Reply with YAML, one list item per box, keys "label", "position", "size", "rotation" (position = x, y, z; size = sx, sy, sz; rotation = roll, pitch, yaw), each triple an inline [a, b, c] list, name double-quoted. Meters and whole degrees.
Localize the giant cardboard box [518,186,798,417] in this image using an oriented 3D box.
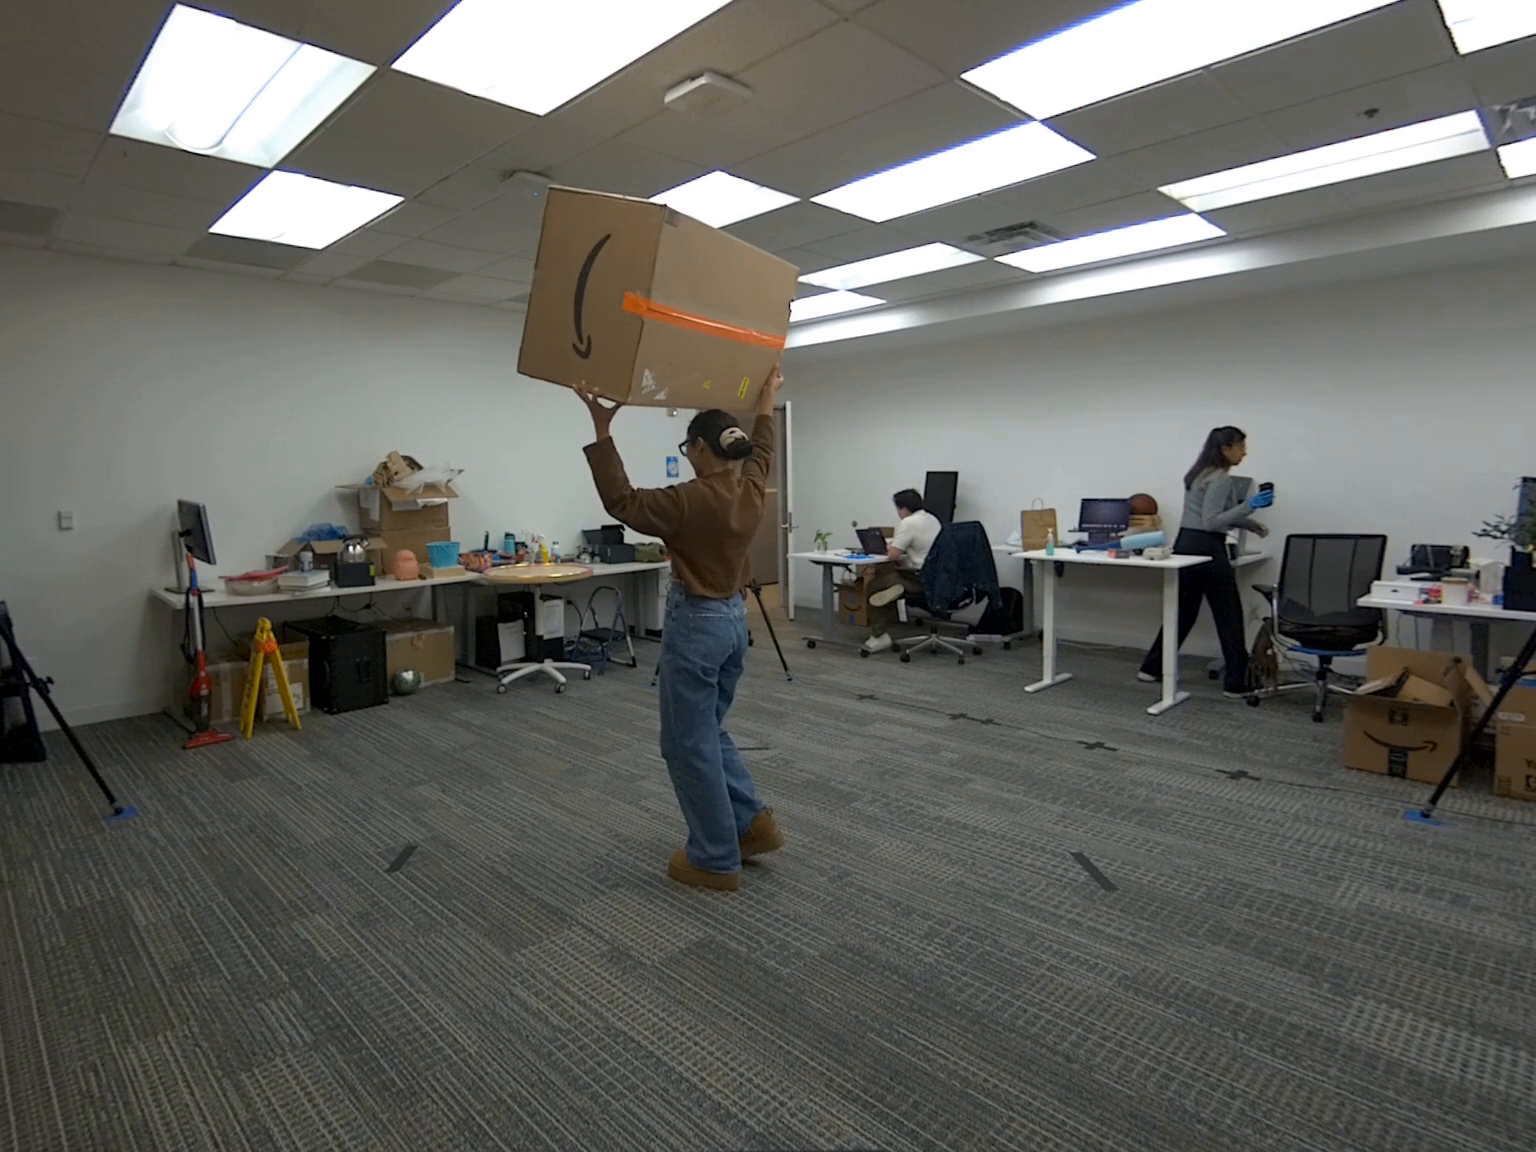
- label: "giant cardboard box"
  position: [-0.329, -0.909, 2.988]
  size: [0.437, 0.572, 1.008]
  rotation: [20, 16, 21]
